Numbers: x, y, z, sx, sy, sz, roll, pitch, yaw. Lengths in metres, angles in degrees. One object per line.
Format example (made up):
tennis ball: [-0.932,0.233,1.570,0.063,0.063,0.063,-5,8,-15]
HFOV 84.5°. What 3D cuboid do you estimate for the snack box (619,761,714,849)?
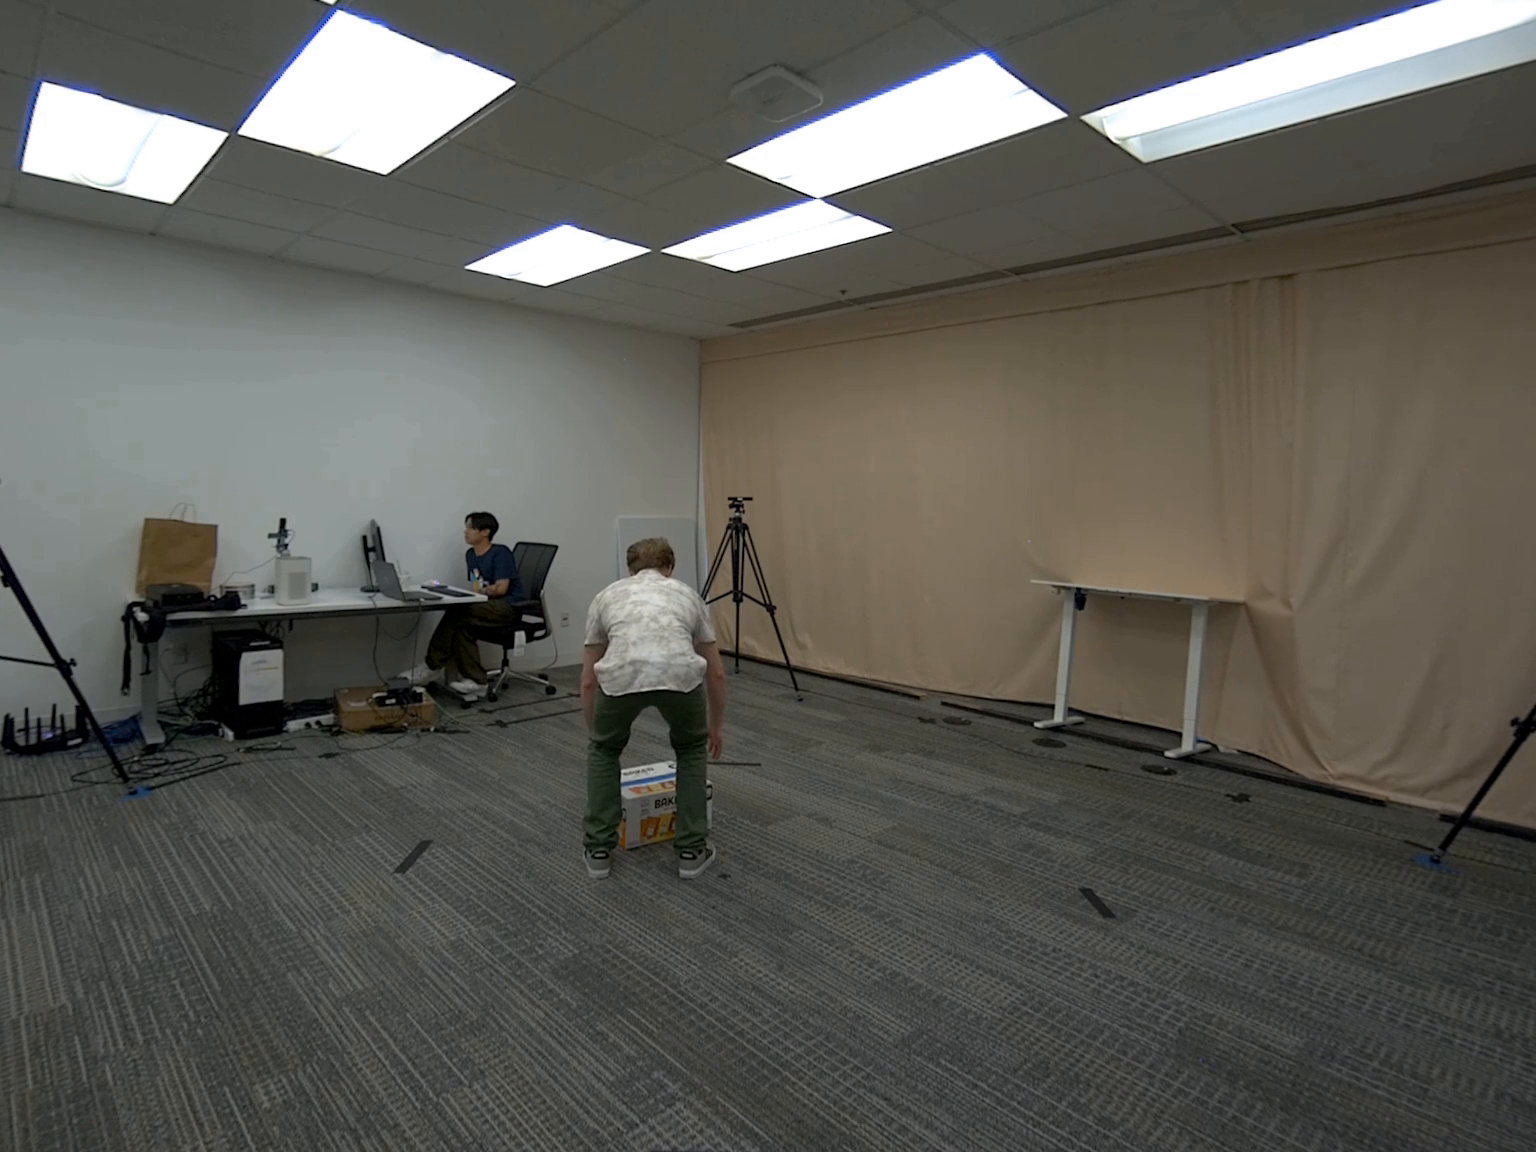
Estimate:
snack box: [-0.507,0.958,3.558,0.396,0.205,0.349,-2,6,-36]
